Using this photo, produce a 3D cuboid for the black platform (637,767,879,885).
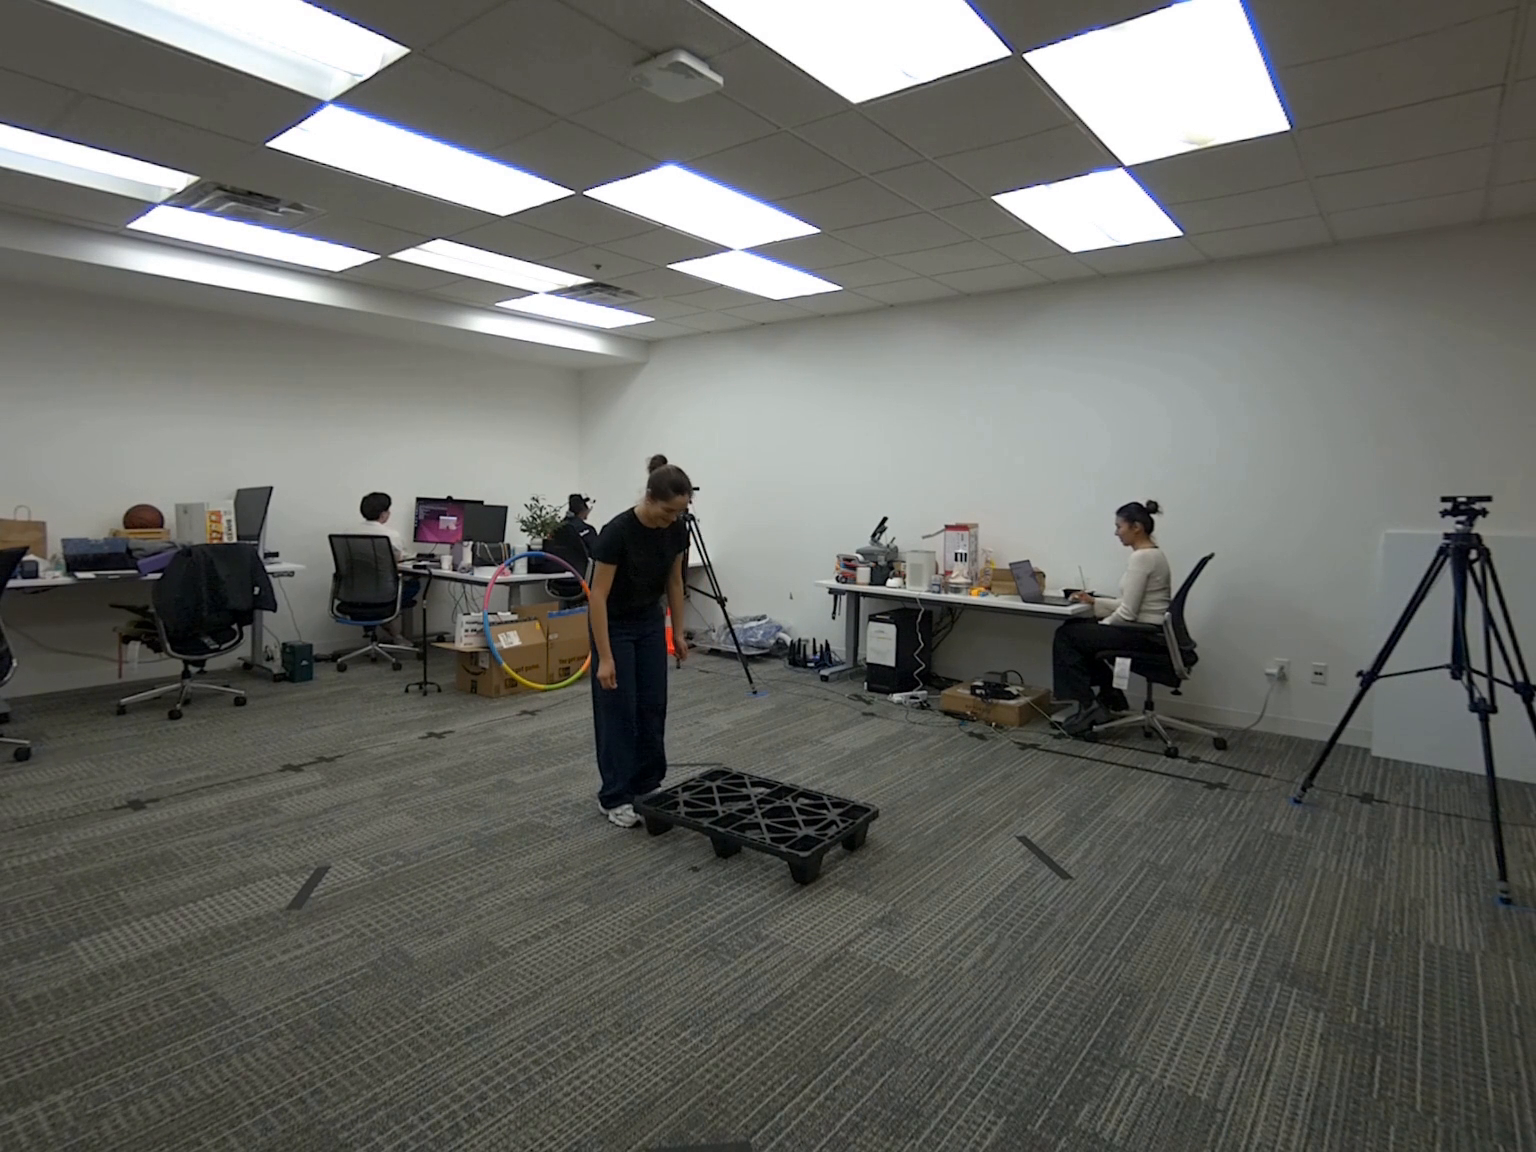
[{"bbox_3d":[-0.032,0.975,3.402,0.832,0.143,0.588,5,6,35],"label":"black platform"}]
